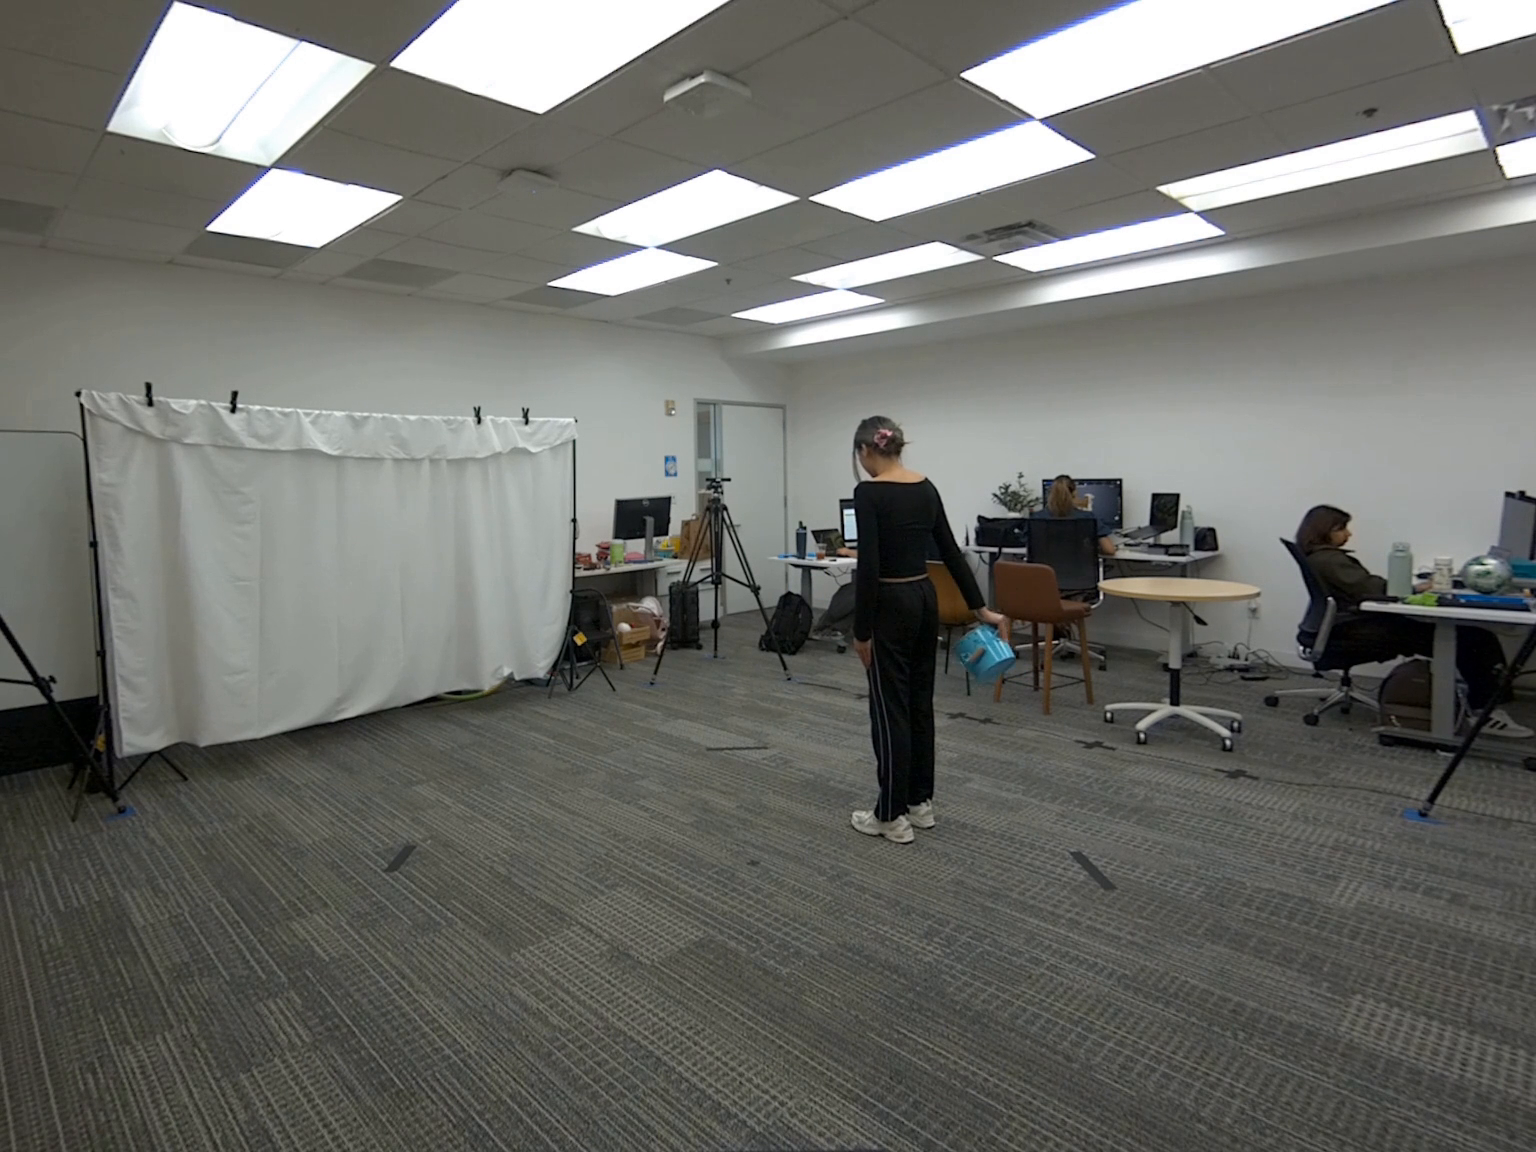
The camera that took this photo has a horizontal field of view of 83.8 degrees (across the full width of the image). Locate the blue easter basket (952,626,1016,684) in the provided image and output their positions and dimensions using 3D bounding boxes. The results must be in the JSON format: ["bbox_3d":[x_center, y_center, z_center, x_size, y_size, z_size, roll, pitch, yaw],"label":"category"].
[{"bbox_3d":[0.863,0.317,3.443,0.241,0.161,0.237,-20,-32,-15],"label":"blue easter basket"}]
